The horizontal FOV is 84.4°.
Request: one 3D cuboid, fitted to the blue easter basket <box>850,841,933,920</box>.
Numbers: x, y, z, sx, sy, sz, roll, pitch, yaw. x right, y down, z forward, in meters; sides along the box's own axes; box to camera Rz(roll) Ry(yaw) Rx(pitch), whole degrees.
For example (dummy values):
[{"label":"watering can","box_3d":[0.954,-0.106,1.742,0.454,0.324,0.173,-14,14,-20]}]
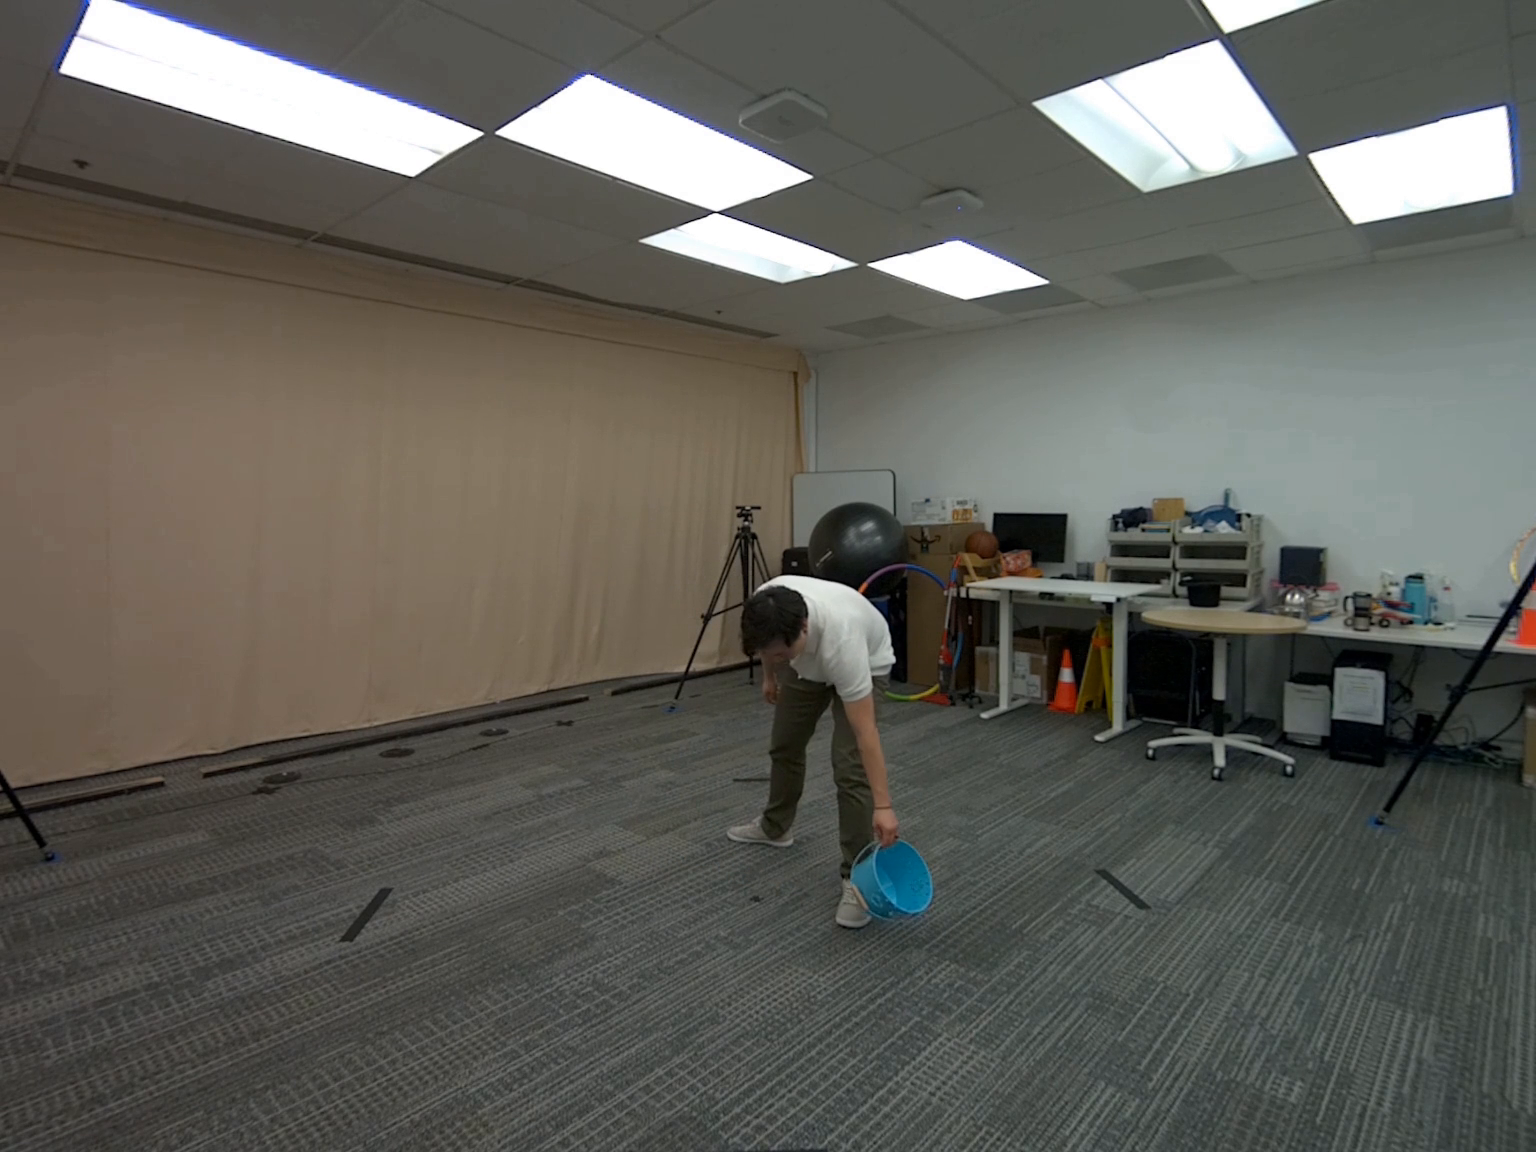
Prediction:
[{"label":"blue easter basket","box_3d":[0.394,0.978,2.713,0.236,0.250,0.157,-3,-35,-41]}]
